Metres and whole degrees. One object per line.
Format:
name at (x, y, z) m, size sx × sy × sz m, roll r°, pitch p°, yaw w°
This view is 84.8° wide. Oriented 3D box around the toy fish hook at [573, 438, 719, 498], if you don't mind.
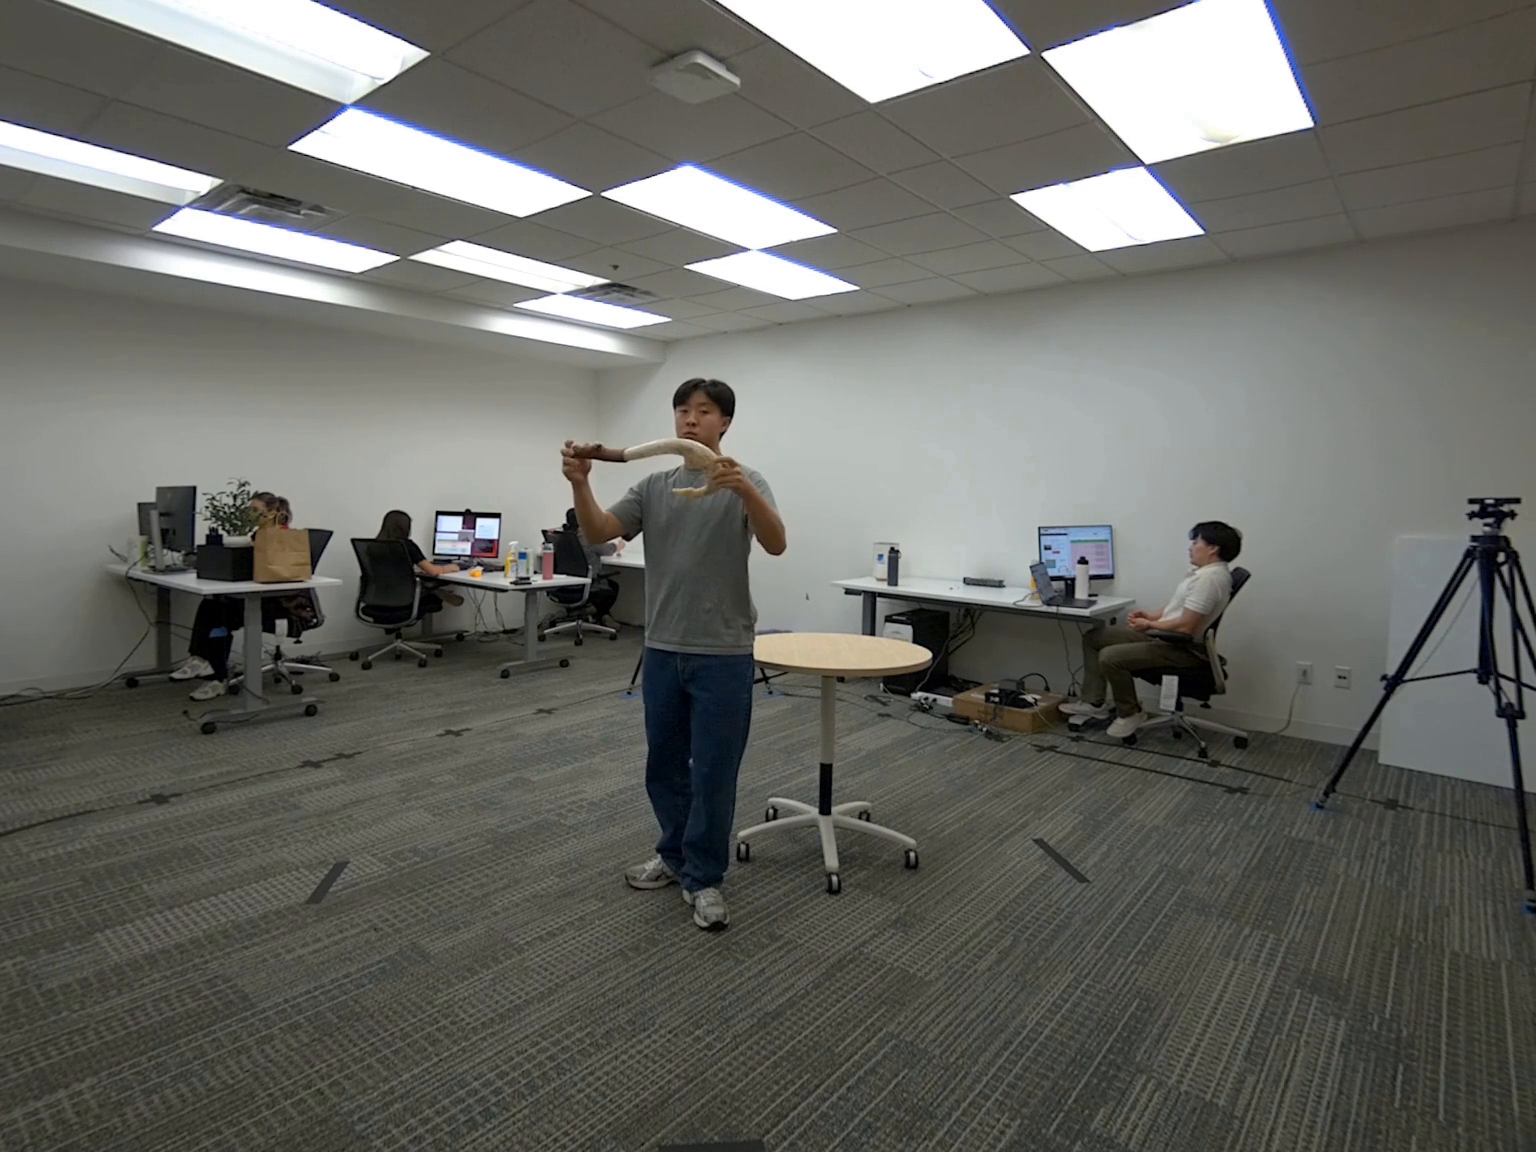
toy fish hook at (-0.363, -0.317, 2.514) m, size 0.520 × 0.217 × 0.049 m, roll 7°, pitch 42°, yaw 24°
